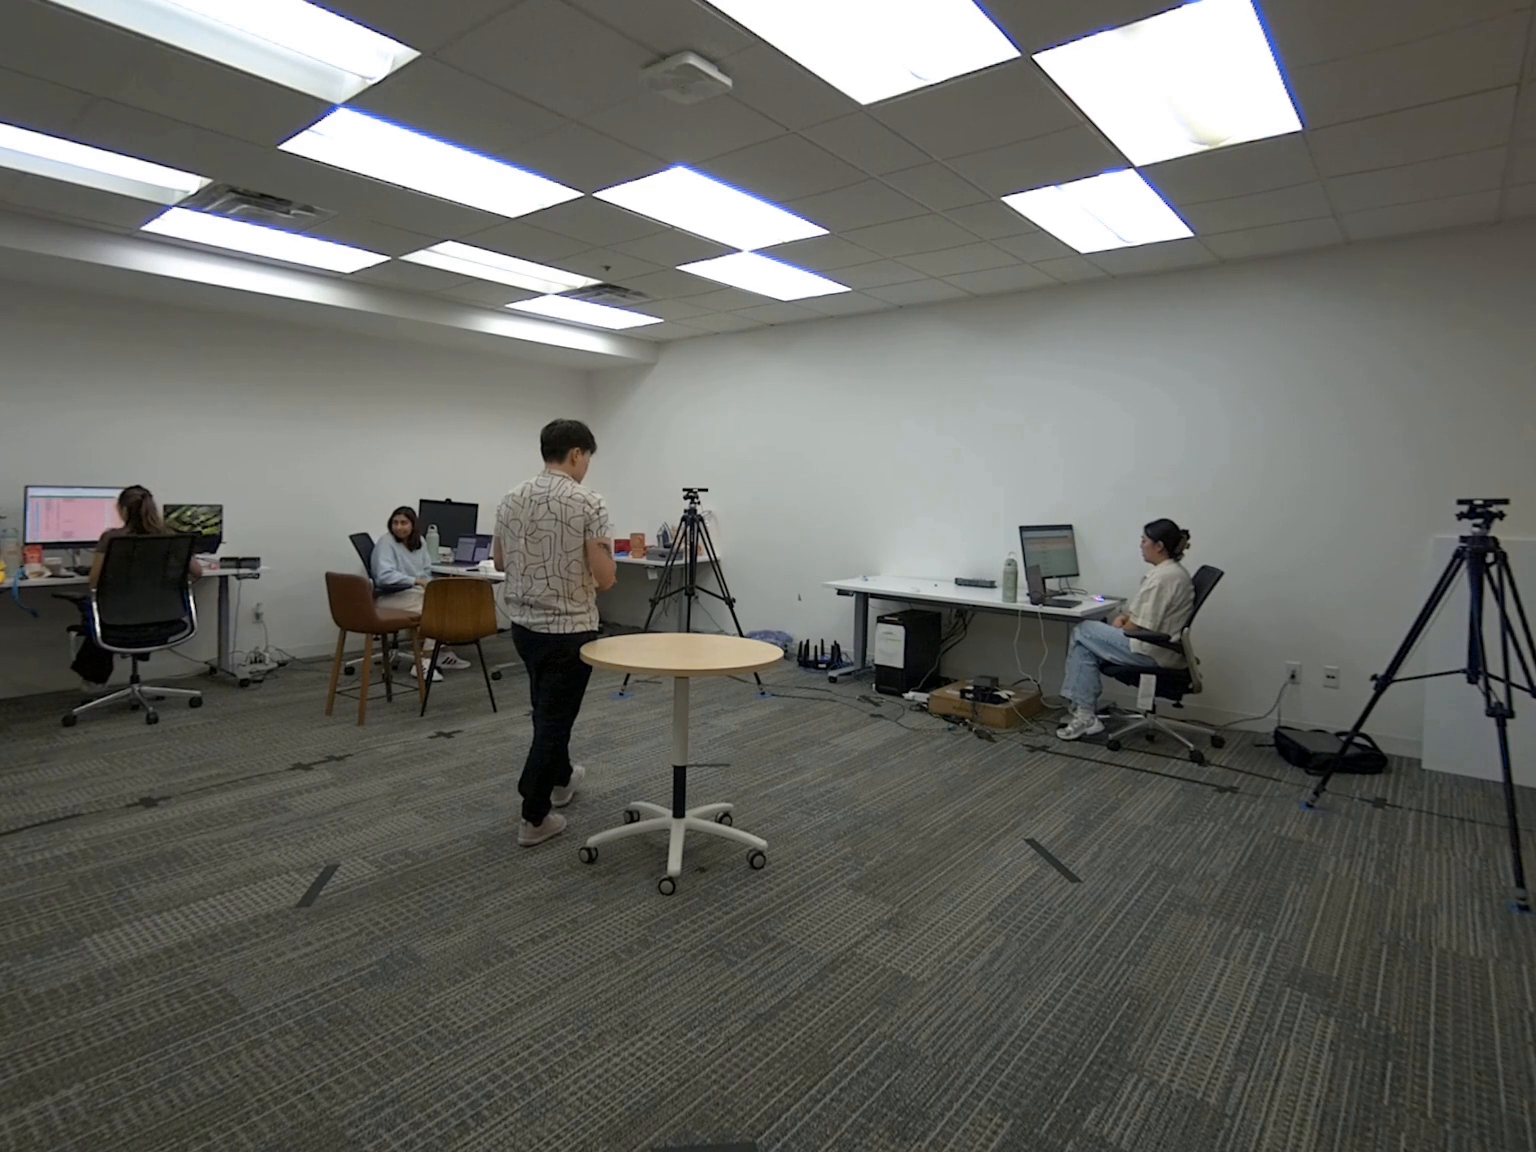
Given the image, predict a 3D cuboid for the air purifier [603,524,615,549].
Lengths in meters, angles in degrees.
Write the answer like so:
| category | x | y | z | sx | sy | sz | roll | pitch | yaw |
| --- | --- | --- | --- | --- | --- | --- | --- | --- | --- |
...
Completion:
| category | x | y | z | sx | sy | sz | roll | pitch | yaw |
| --- | --- | --- | --- | --- | --- | --- | --- | --- | --- |
| air purifier | -0.773 | -0.086 | 3.597 | 0.174 | 0.264 | 0.168 | 0 | 3 | 19 |
